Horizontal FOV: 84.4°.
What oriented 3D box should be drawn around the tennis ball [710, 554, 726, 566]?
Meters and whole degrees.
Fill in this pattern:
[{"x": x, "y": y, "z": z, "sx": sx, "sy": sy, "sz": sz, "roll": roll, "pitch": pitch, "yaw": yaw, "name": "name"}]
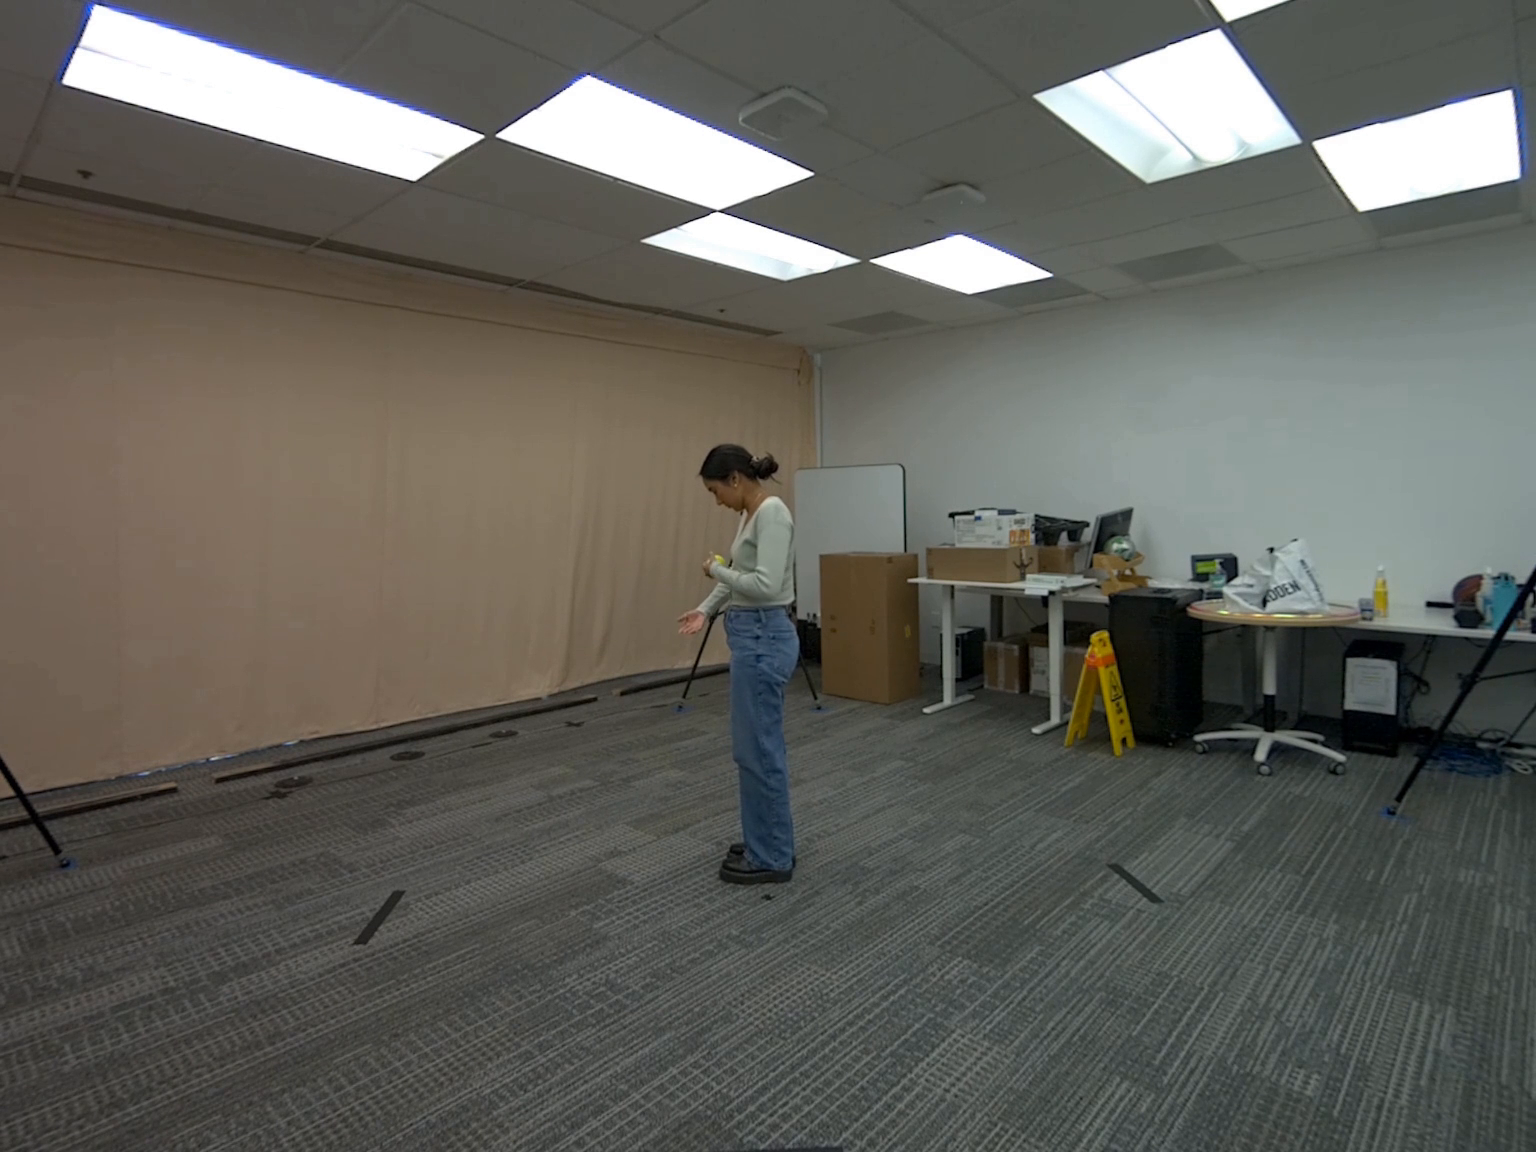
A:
[{"x": -0.169, "y": -0.032, "z": 3.116, "sx": 0.066, "sy": 0.066, "sz": 0.067, "roll": -1, "pitch": 4, "yaw": -2, "name": "tennis ball"}]
